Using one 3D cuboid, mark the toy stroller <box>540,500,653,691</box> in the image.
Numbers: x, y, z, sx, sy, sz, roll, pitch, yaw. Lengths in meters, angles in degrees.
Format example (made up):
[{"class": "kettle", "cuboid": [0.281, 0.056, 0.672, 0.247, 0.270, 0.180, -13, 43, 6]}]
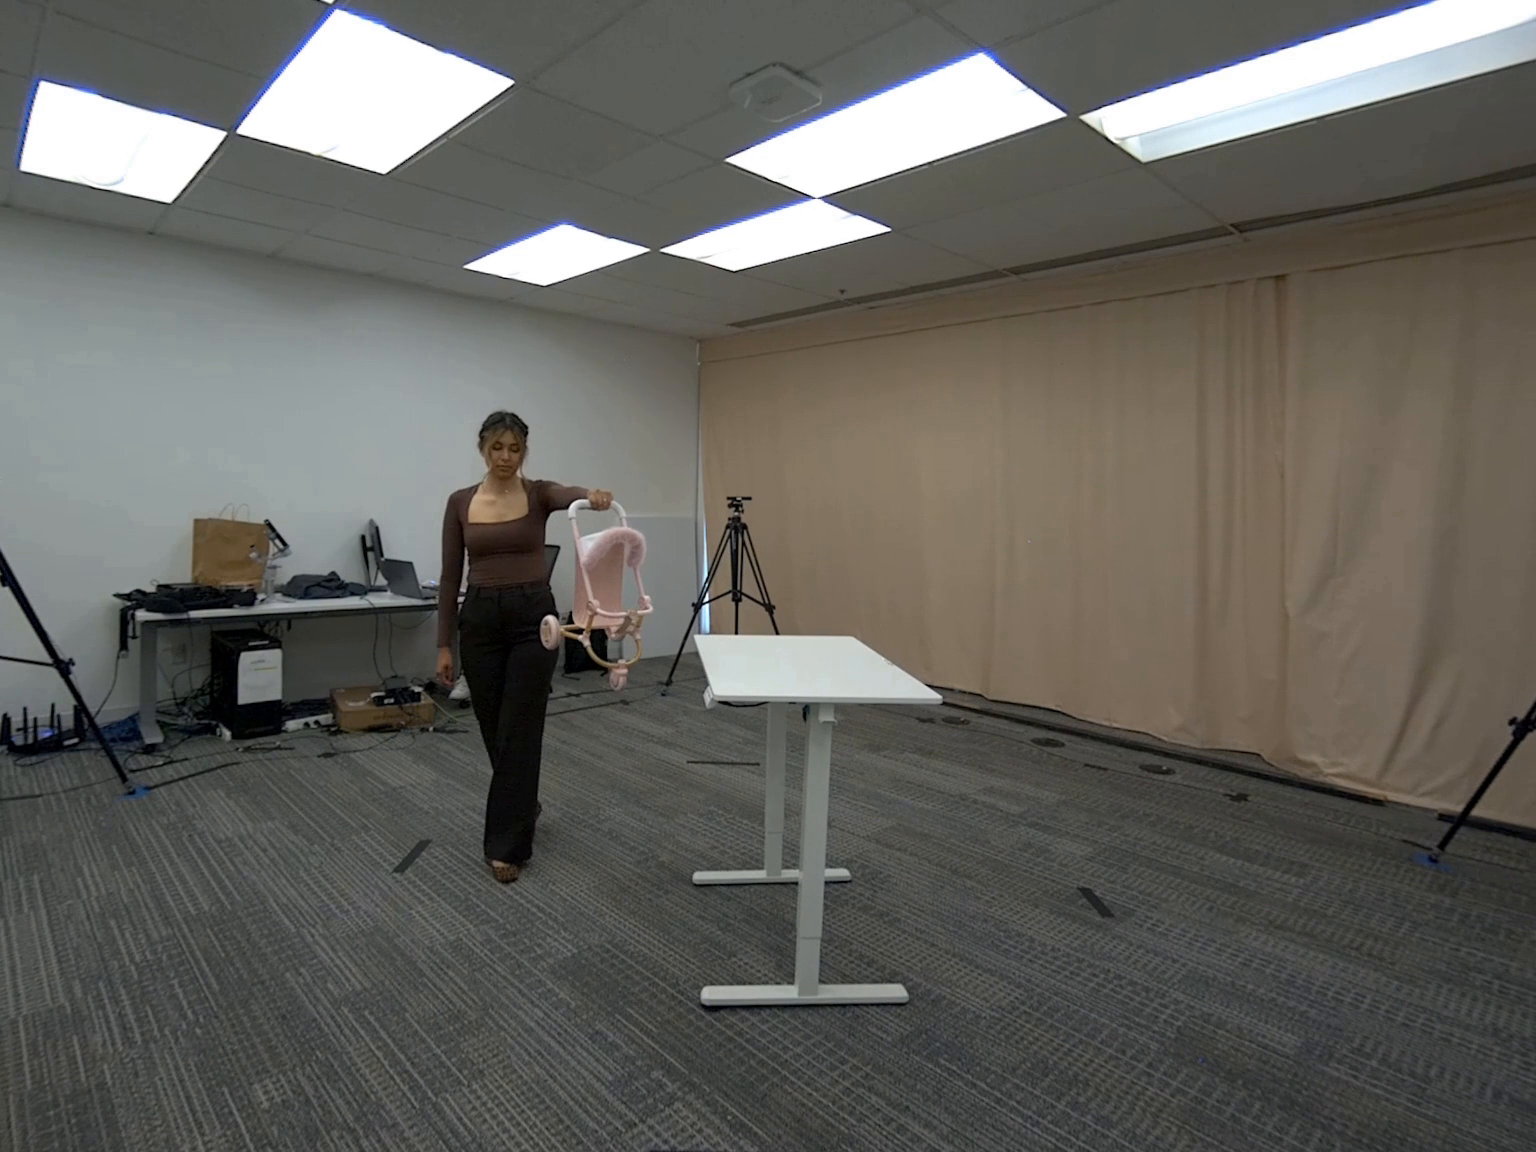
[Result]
[{"class": "toy stroller", "cuboid": [-0.518, 0.066, 2.655, 0.275, 0.531, 0.352, 0, 17, -38]}]
